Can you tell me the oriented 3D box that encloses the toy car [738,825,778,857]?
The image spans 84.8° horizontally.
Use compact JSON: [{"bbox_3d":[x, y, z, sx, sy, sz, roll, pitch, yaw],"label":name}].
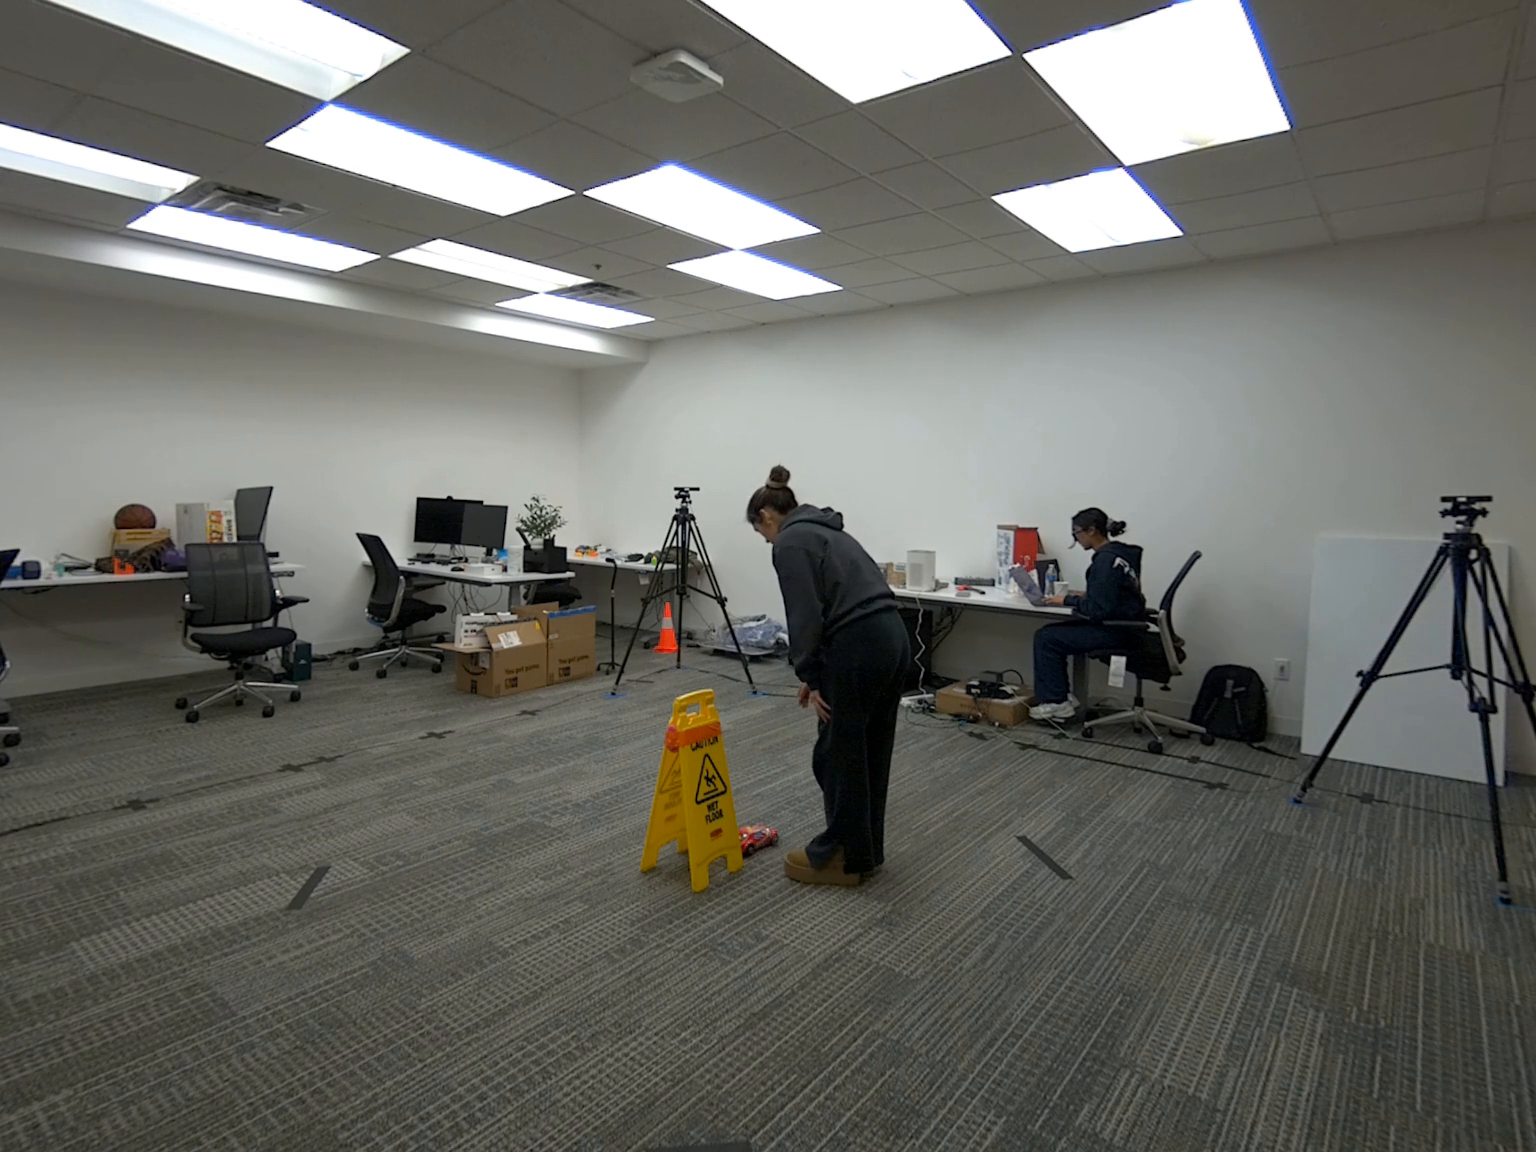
[{"bbox_3d":[-0.073,1.025,3.295,0.135,0.083,0.245,7,-3,43],"label":"toy car"}]
